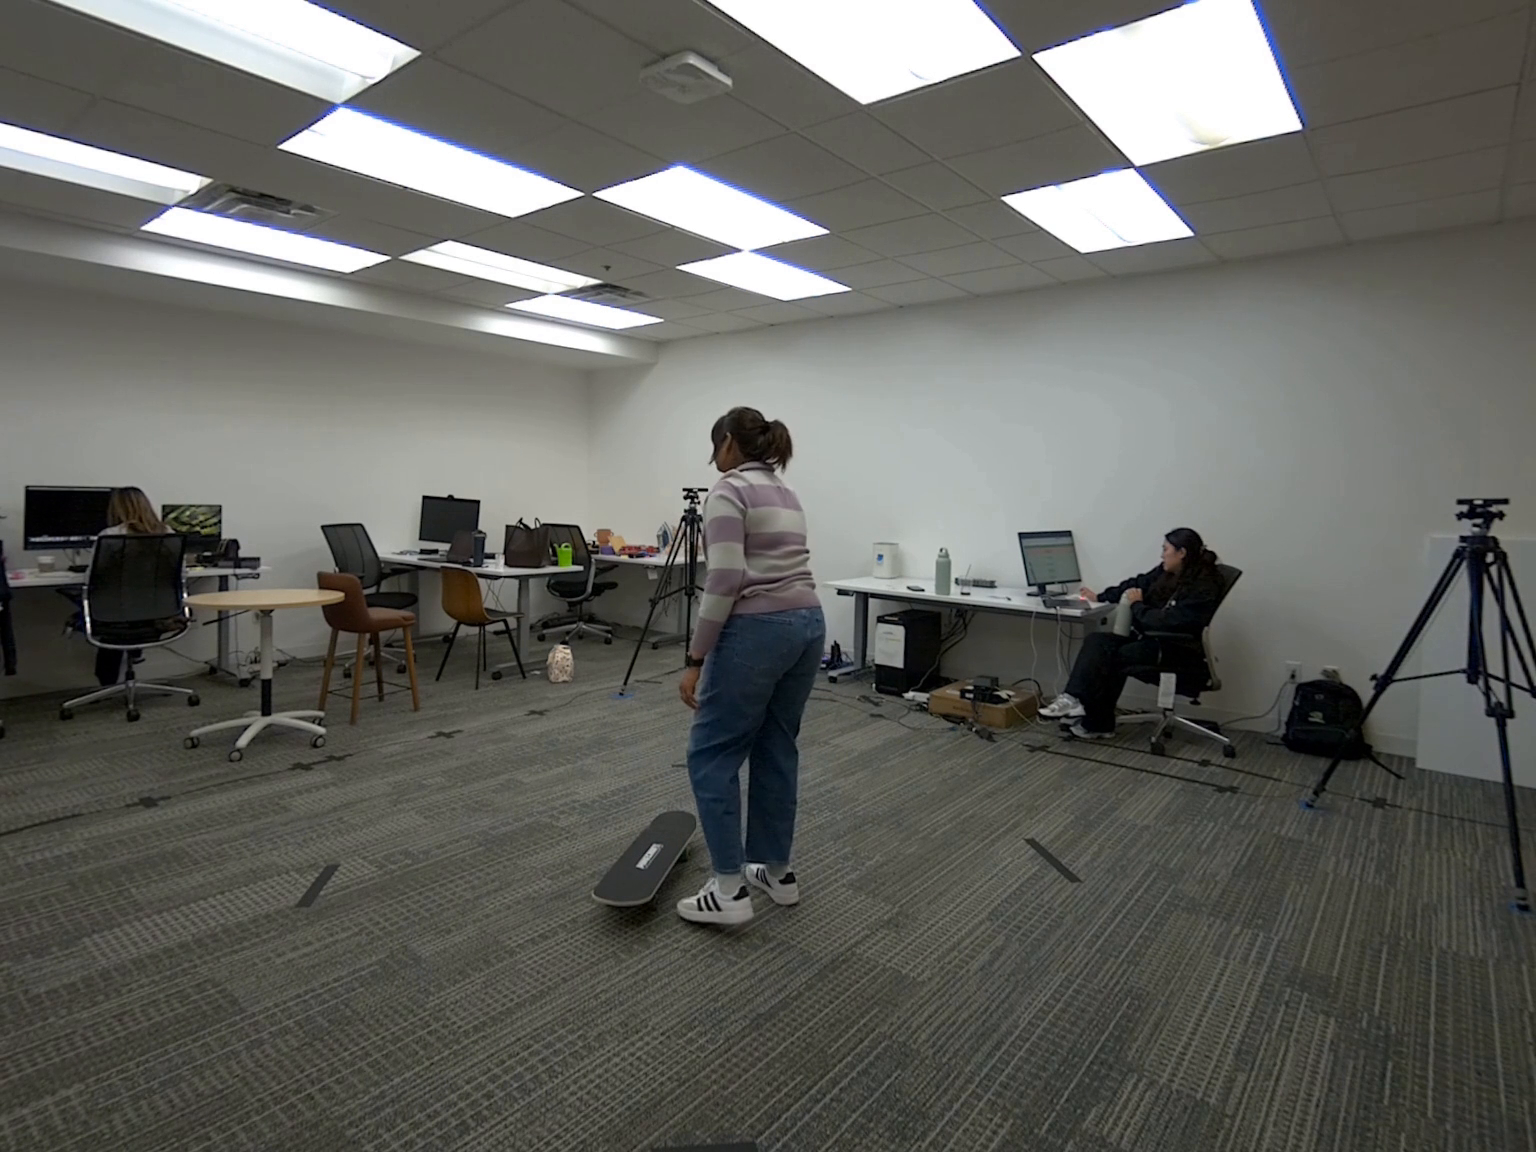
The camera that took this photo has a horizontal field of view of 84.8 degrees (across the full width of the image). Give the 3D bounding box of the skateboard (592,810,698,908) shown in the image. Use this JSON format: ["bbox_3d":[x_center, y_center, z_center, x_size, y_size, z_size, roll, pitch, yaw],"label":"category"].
[{"bbox_3d":[-0.429,1.018,3.010,0.196,0.110,0.778,2,6,10],"label":"skateboard"}]
